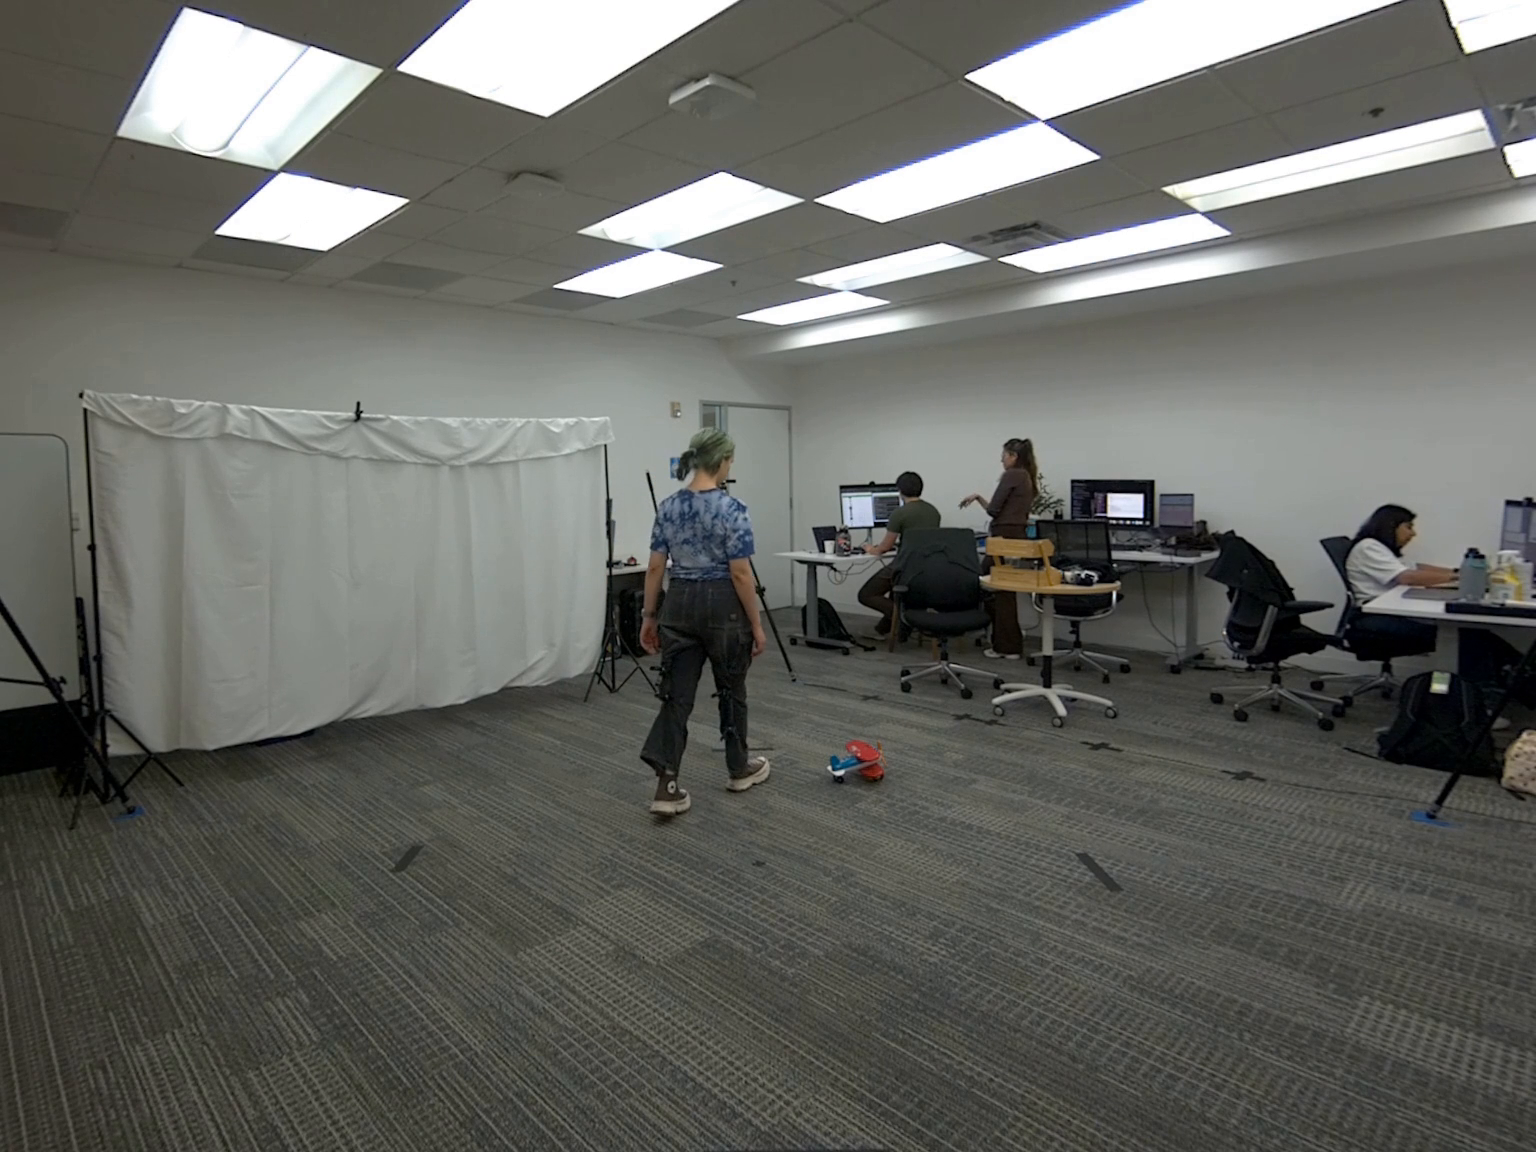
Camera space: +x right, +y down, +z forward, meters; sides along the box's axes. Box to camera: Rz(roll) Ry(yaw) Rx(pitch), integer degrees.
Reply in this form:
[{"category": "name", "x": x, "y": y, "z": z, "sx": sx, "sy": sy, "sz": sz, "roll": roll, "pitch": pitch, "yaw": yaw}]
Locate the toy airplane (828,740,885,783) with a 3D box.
[{"category": "toy airplane", "x": 0.414, "y": 0.873, "z": 3.940, "sx": 0.259, "sy": 0.156, "sz": 0.252, "roll": 5, "pitch": 7, "yaw": 43}]
